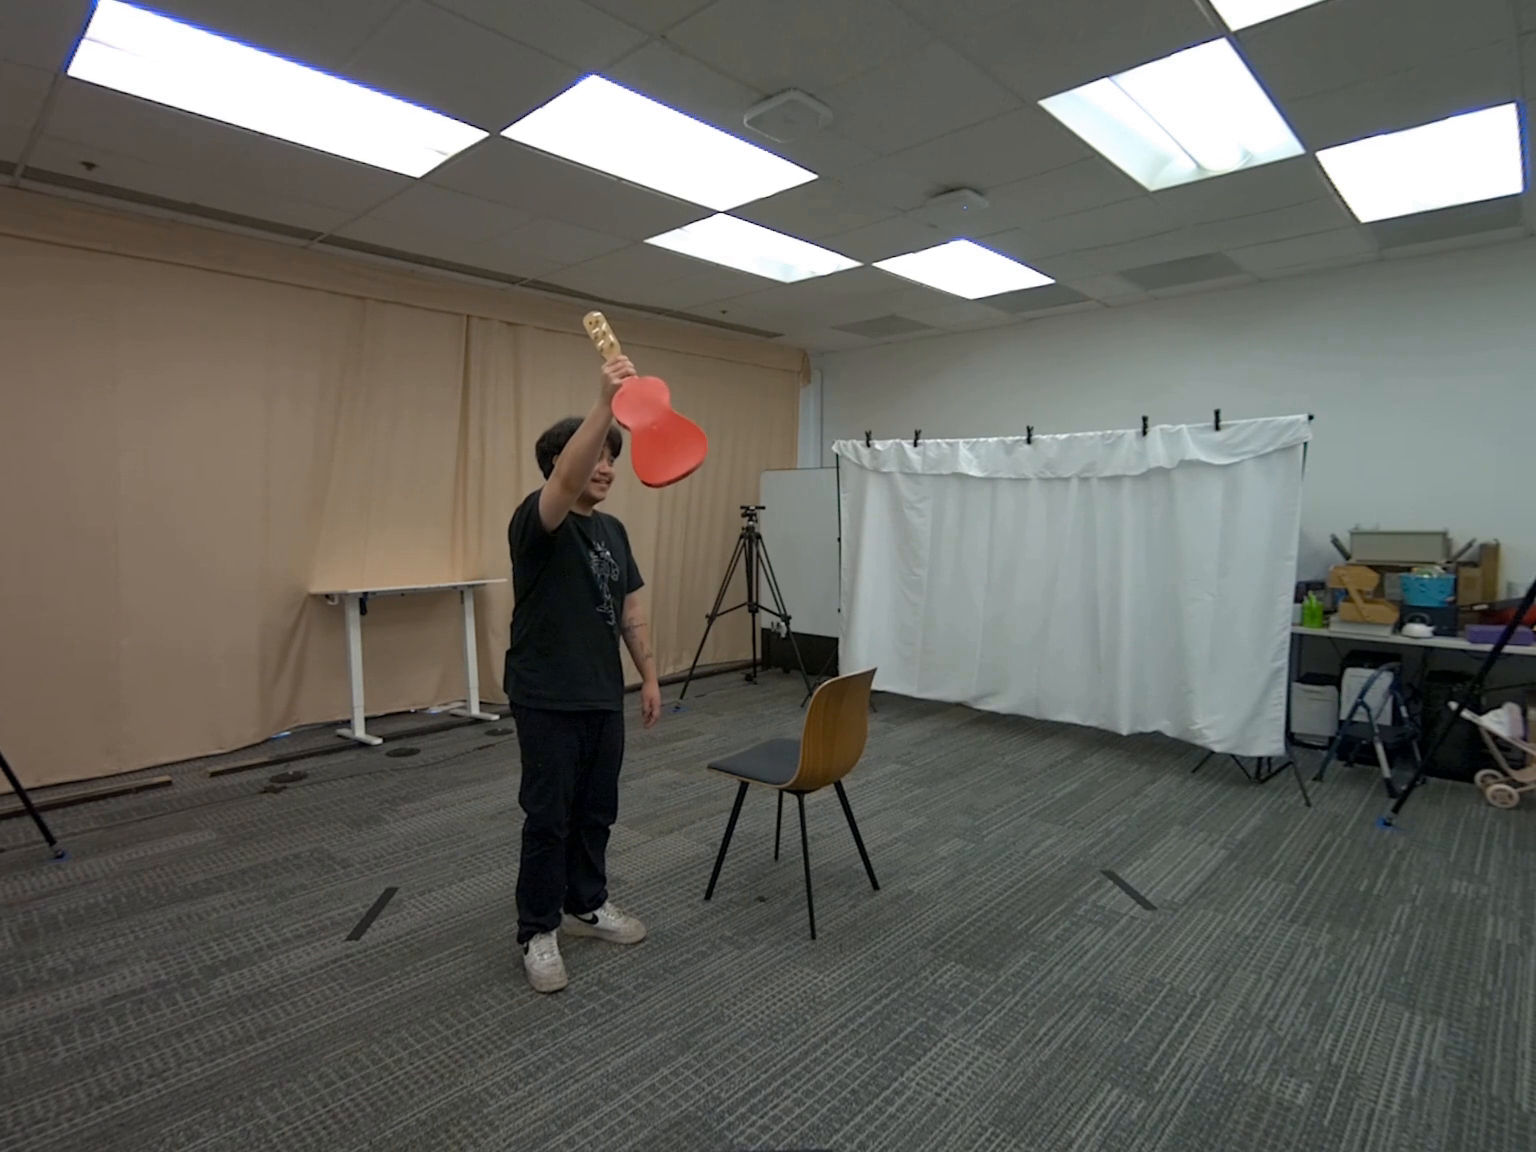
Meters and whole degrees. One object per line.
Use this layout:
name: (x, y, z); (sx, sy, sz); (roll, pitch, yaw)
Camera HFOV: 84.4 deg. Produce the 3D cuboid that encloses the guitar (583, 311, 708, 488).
guitar: (-0.351, -0.442, 2.108); (0.192, 0.502, 0.070); (-38, -7, -4)
